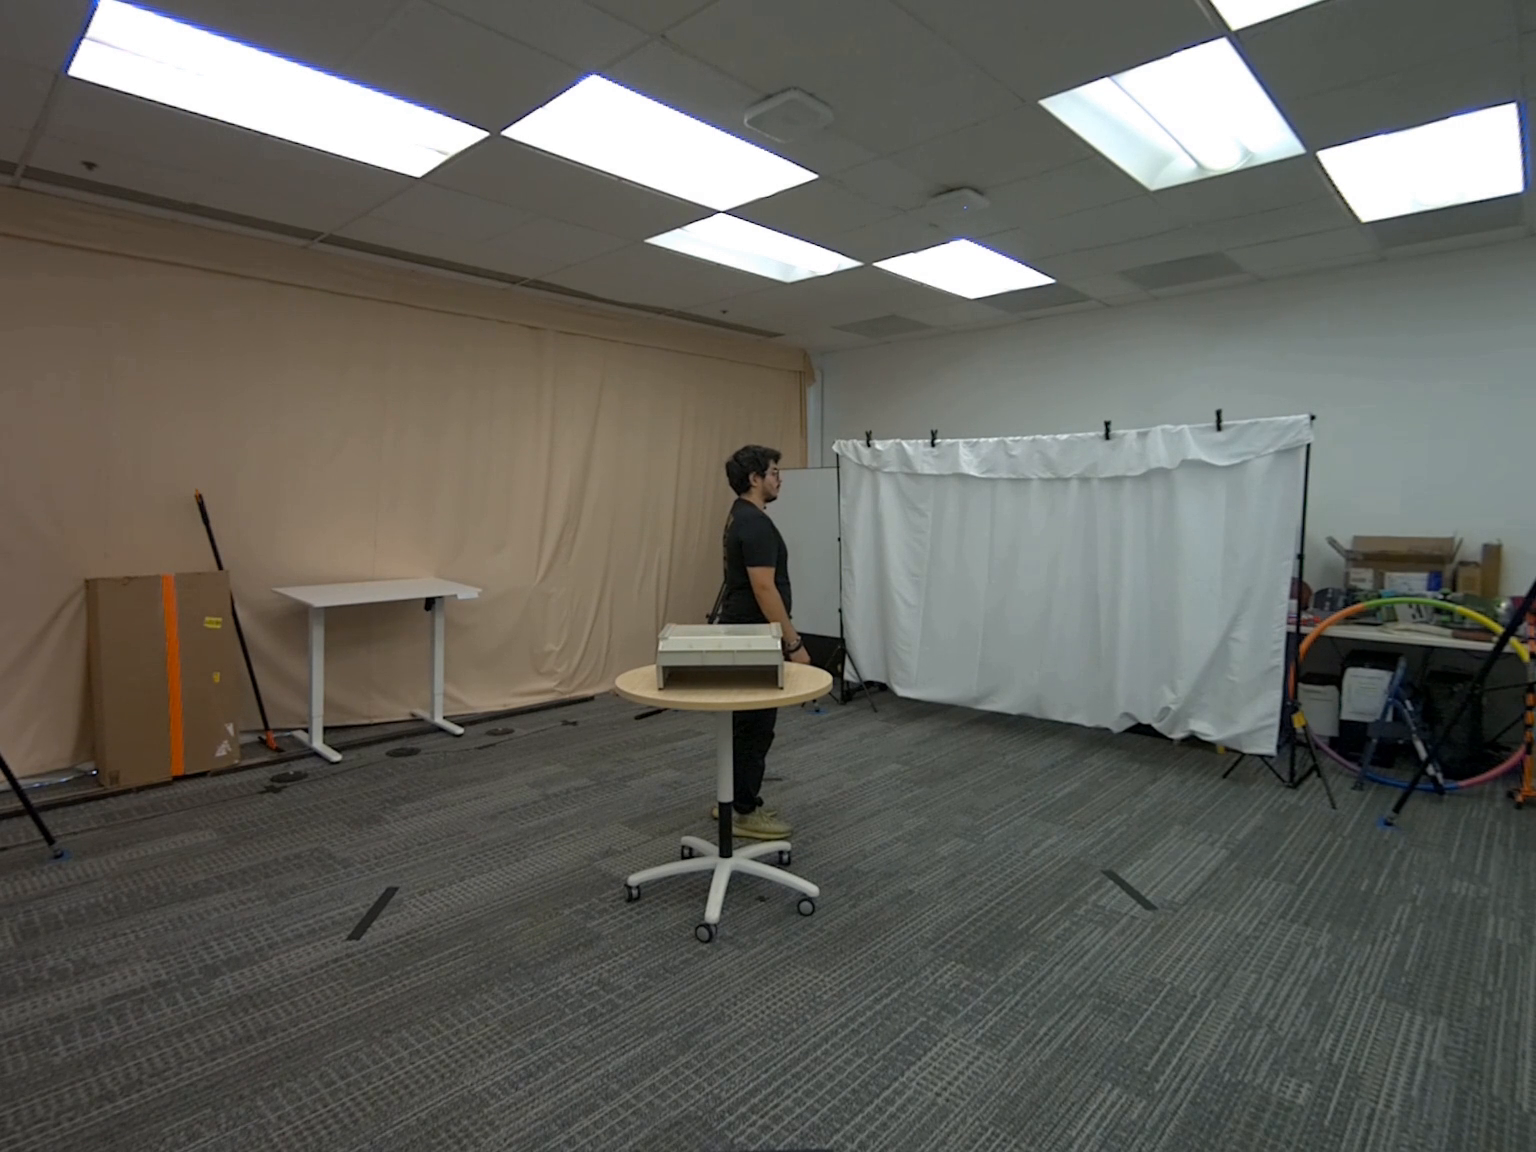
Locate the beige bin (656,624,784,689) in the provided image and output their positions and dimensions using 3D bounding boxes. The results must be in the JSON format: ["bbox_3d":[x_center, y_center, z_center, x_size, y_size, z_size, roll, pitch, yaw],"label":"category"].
[{"bbox_3d":[-0.162,0.272,2.913,0.423,0.188,0.377,0,5,2],"label":"beige bin"}]
